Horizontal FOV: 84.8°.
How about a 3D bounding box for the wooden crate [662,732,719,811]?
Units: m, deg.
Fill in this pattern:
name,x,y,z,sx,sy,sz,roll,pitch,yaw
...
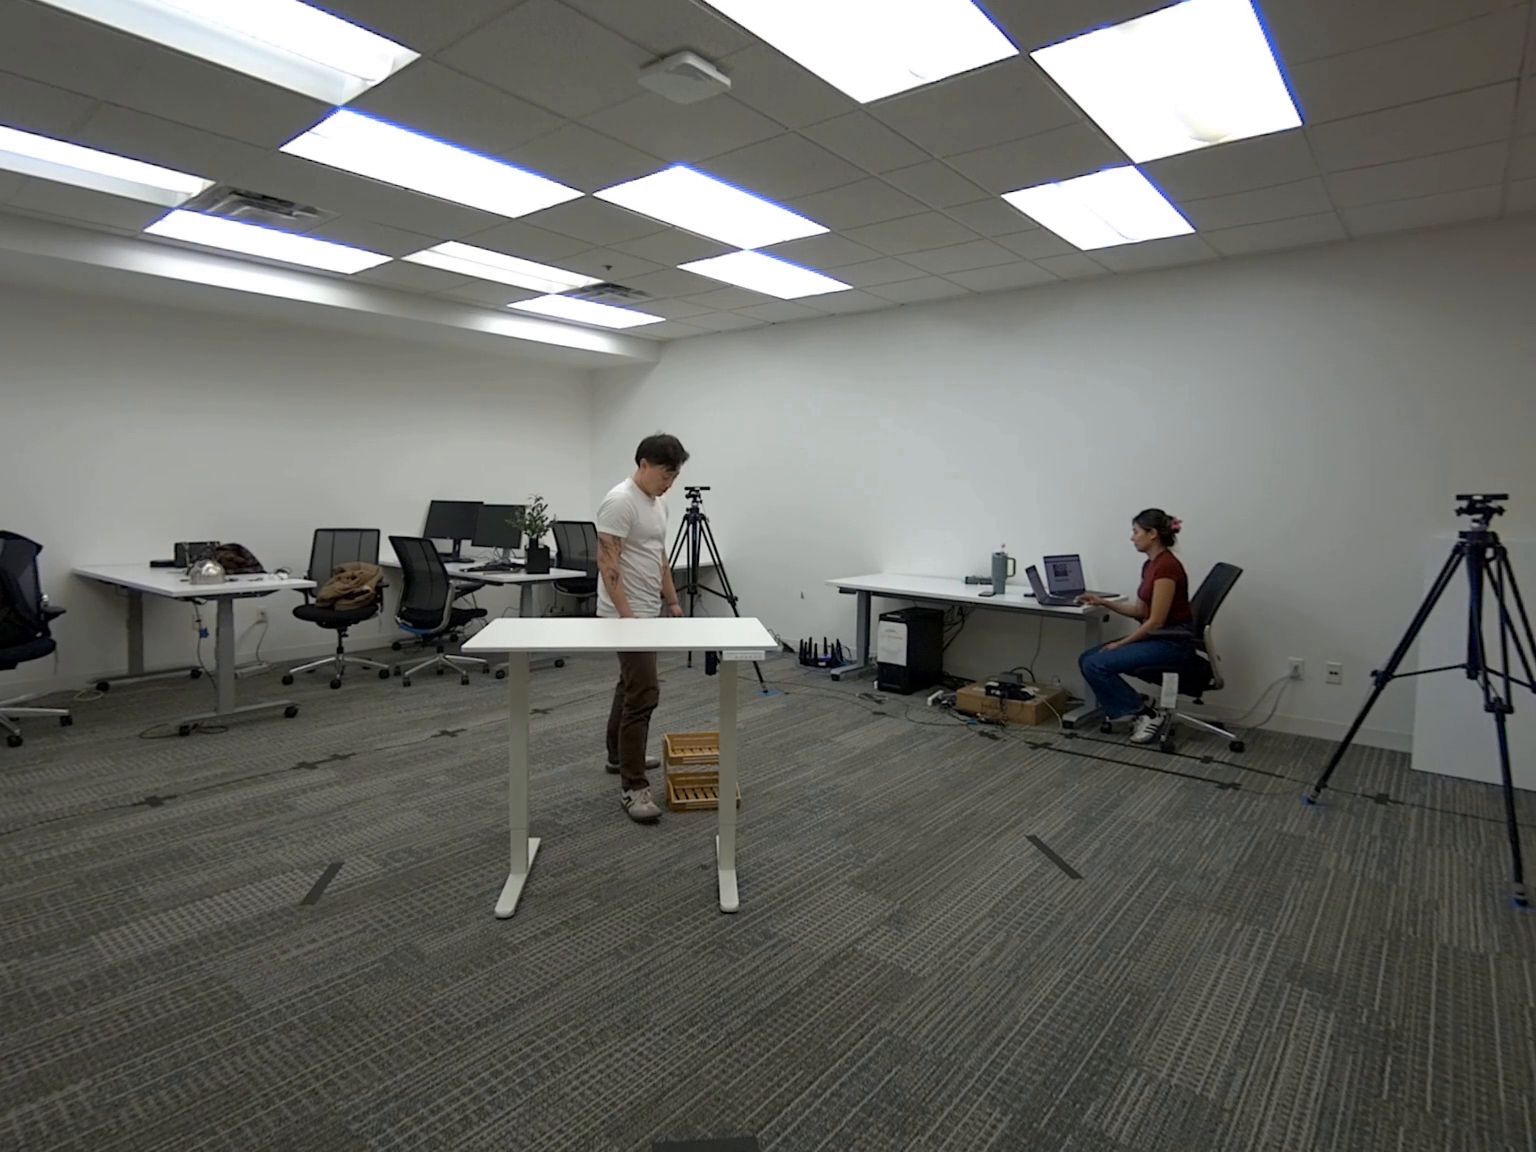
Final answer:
name,x,y,z,sx,sy,sz,roll,pitch,yaw
wooden crate,-0.315,0.856,3.795,0.320,0.272,0.307,-1,5,-13
